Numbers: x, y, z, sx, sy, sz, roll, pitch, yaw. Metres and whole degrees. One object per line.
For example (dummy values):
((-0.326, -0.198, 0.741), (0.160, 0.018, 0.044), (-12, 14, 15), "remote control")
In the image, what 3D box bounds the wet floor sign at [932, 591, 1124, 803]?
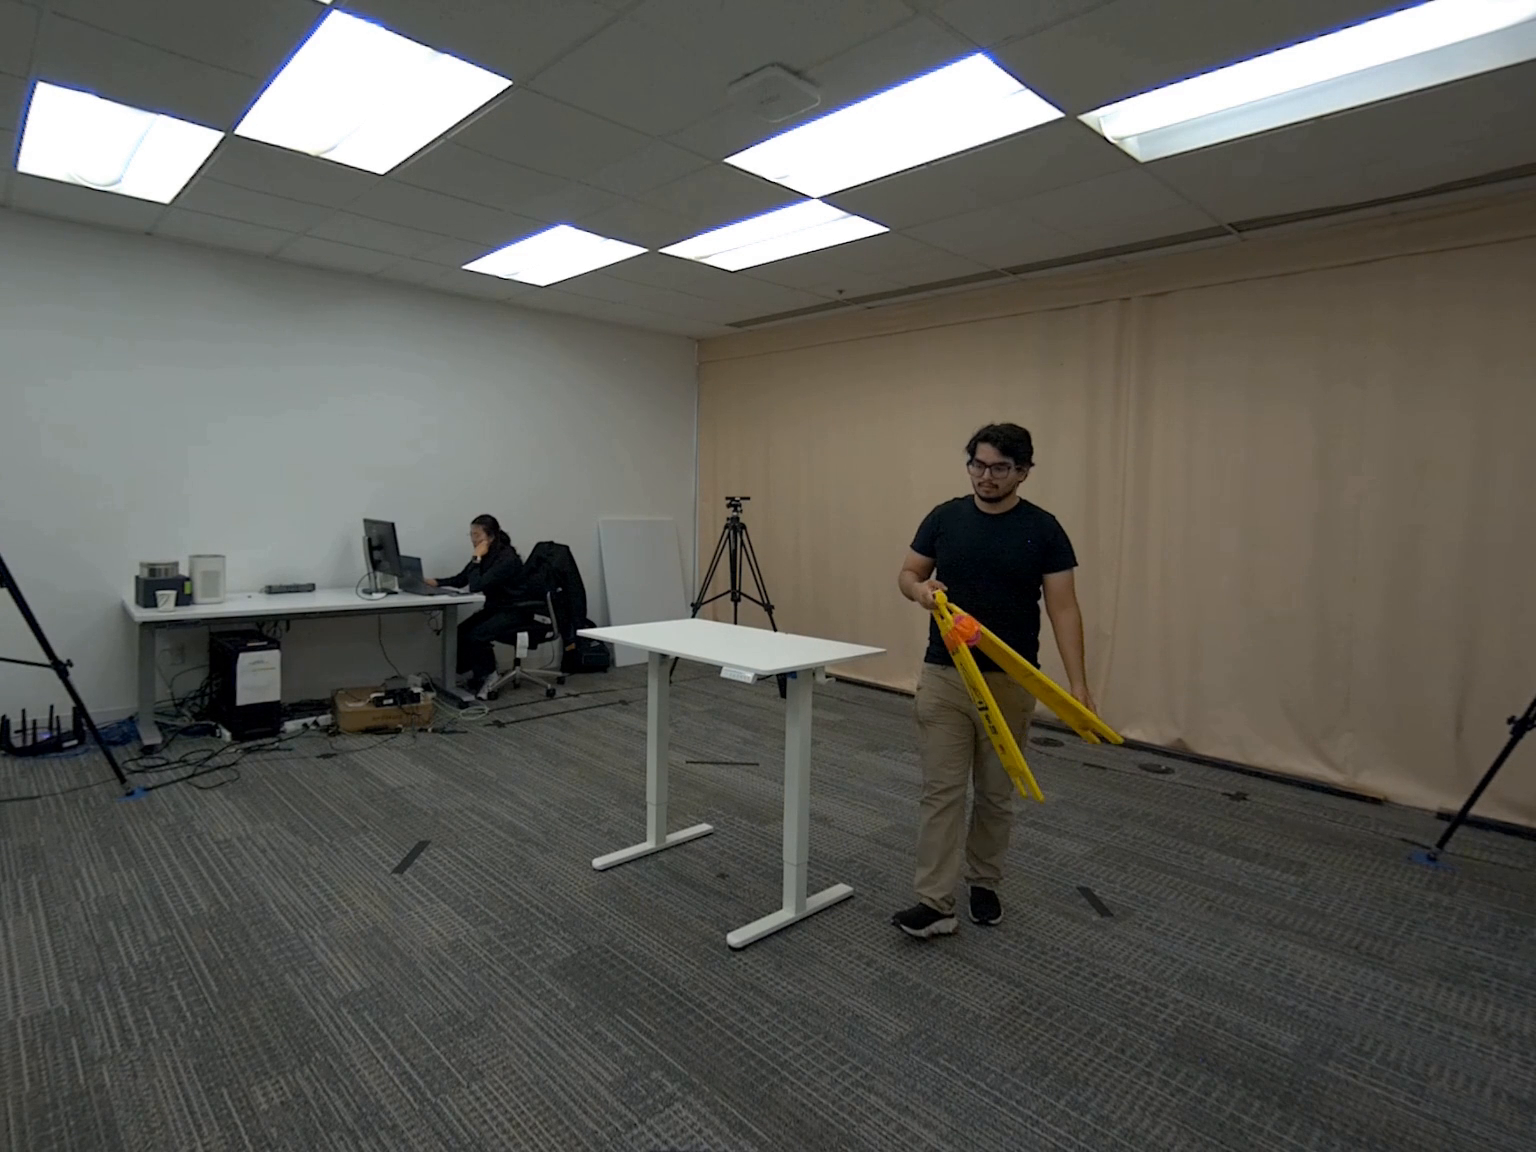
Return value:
((0.690, 0.322, 2.542), (0.289, 0.656, 0.278), (-36, -15, -2), "wet floor sign")
